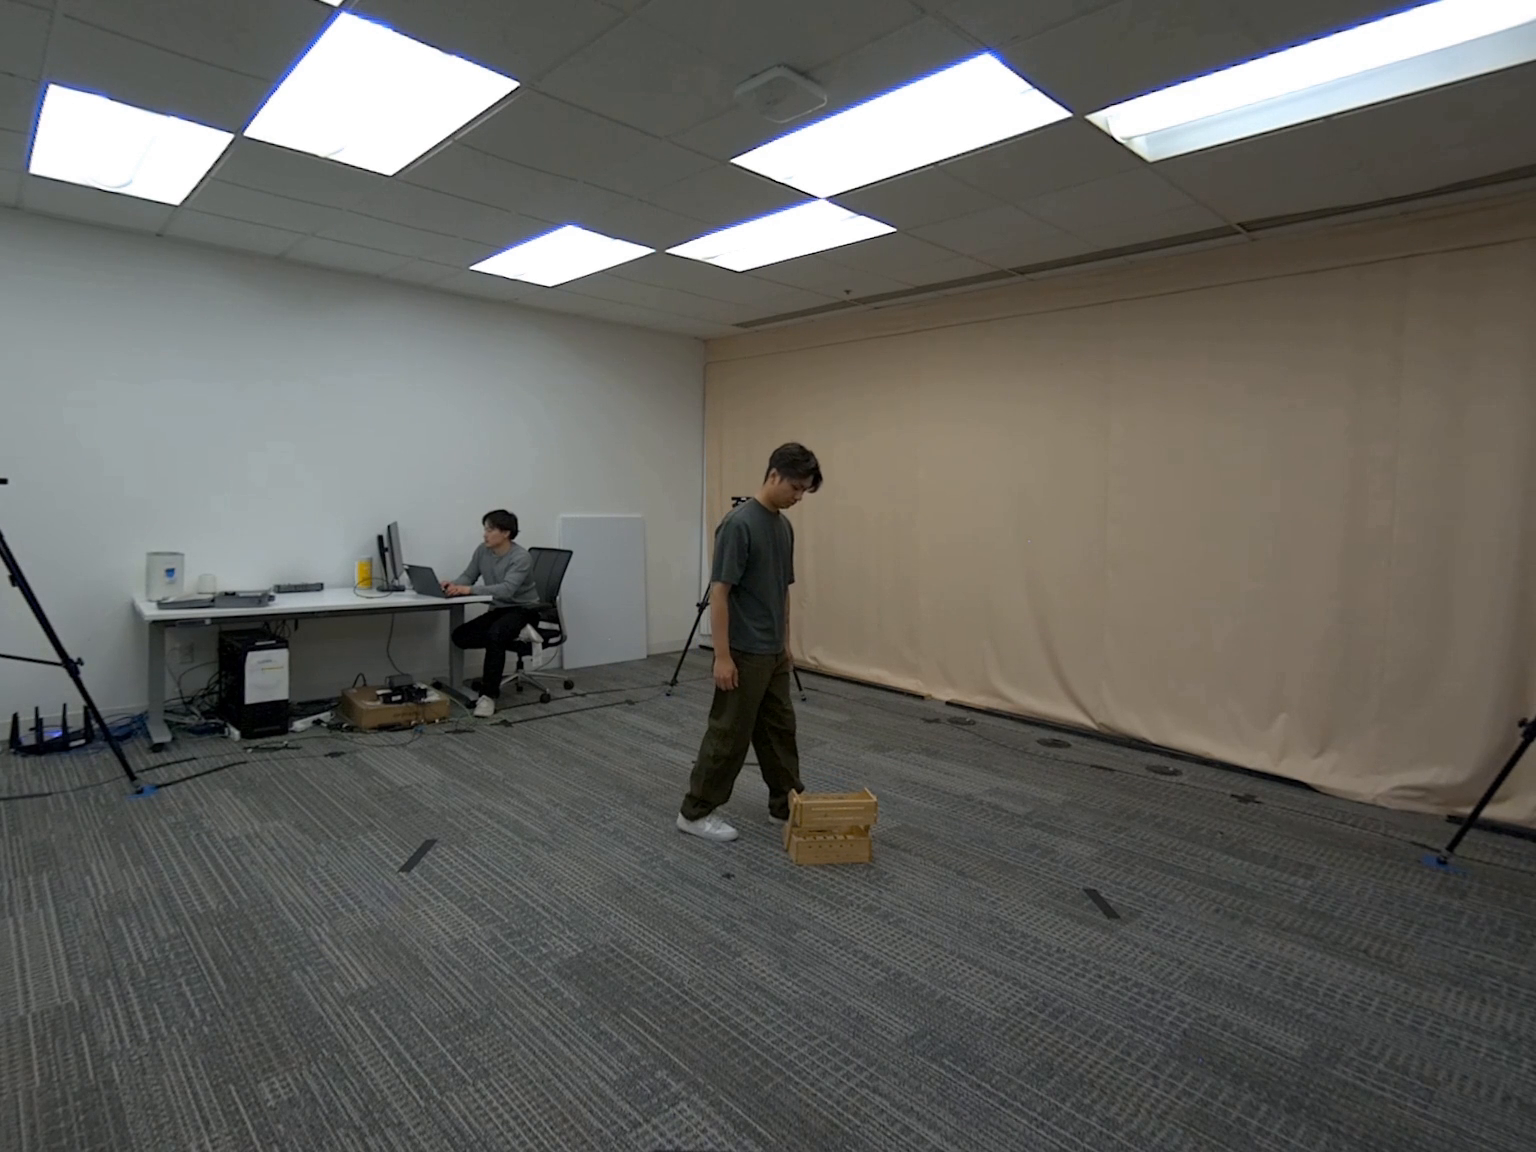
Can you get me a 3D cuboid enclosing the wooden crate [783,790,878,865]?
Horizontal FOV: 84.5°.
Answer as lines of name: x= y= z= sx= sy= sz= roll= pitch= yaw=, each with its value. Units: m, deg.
wooden crate: x=0.228 y=0.958 z=3.327 sx=0.322 sy=0.272 sz=0.305 roll=1 pitch=4 yaw=-9
